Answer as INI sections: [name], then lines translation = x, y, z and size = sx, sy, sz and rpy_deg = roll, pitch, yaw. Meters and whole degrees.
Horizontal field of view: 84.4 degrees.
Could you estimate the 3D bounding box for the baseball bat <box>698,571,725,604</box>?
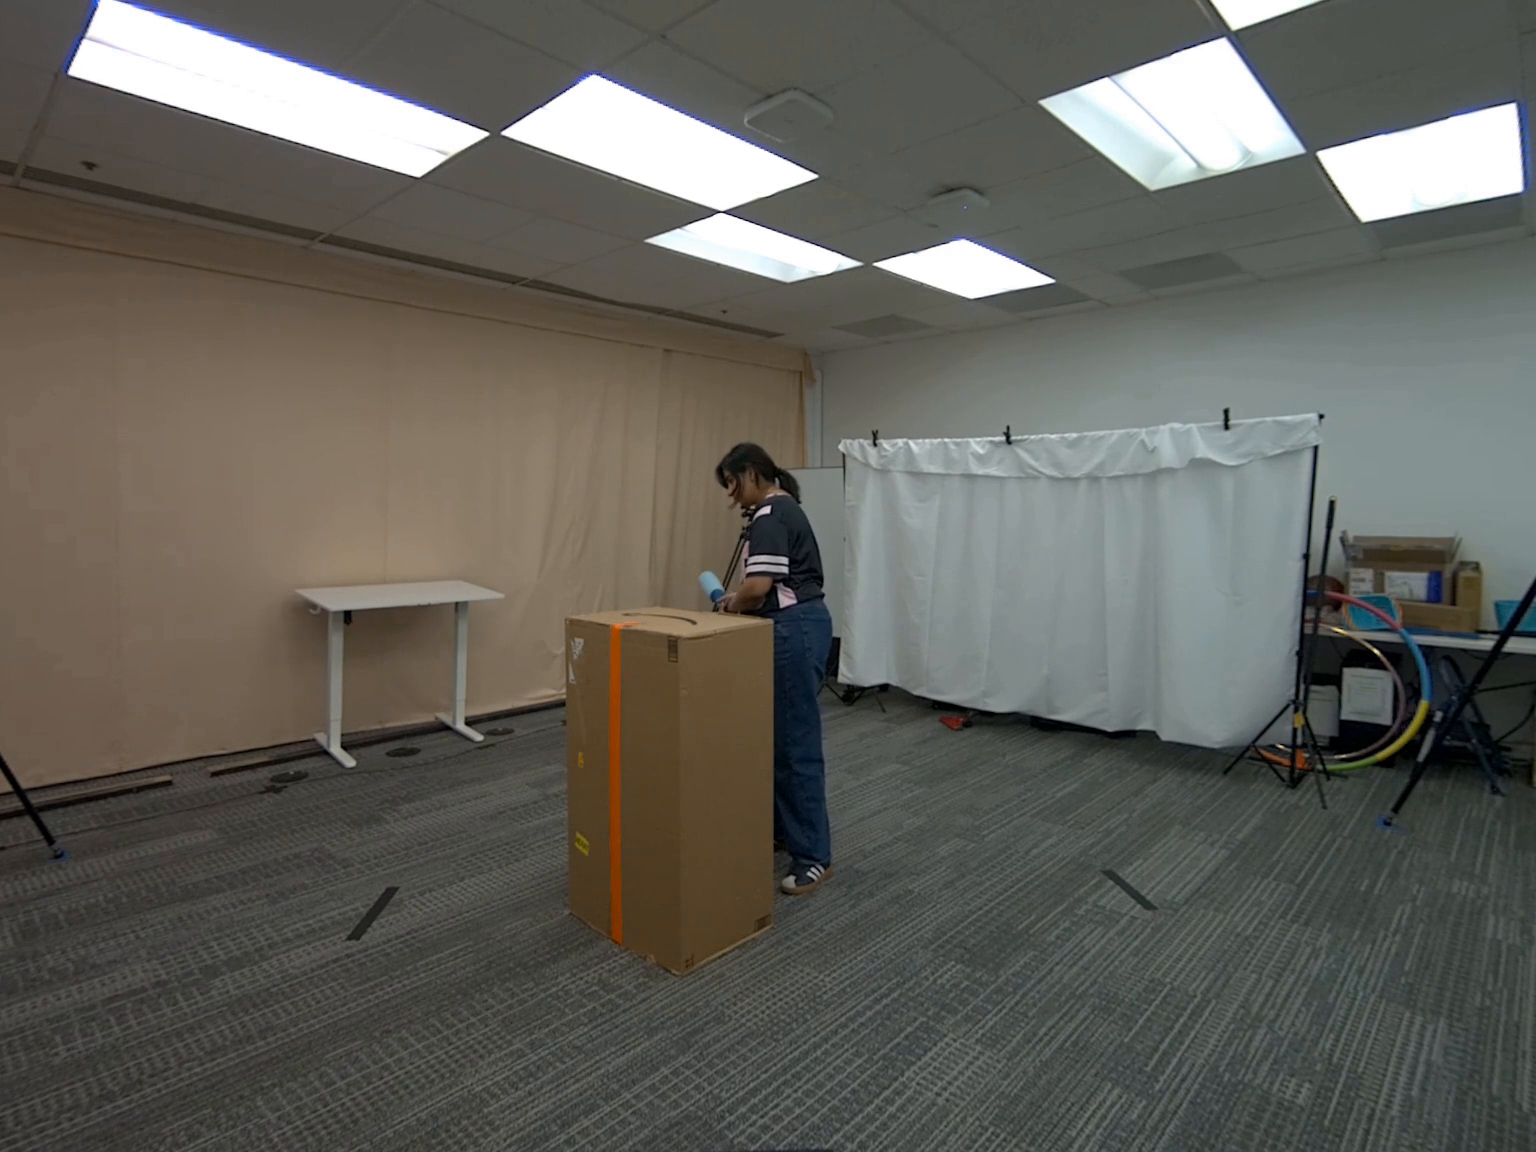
[baseball bat]
translation = -0.213, 0.101, 3.640
size = 0.088, 0.088, 0.555
rpy_deg = -1, 17, -14
